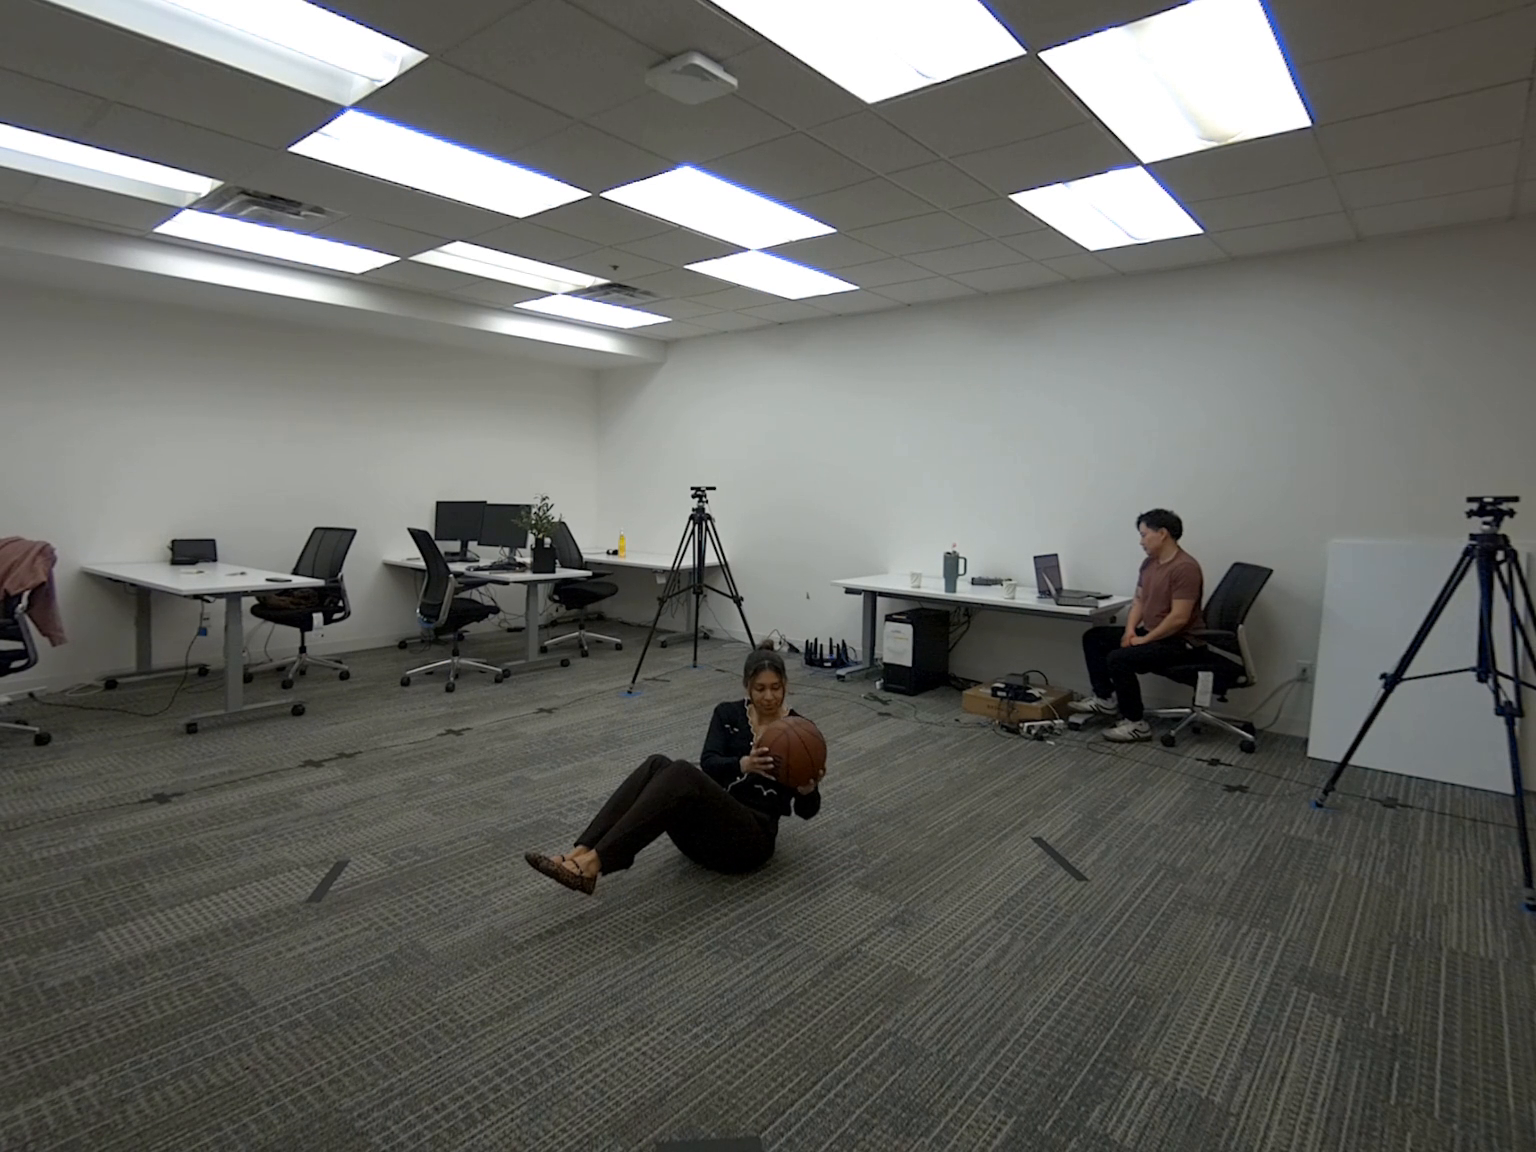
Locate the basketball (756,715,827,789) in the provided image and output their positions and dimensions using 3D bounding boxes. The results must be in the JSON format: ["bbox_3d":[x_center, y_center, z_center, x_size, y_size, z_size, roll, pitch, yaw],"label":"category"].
[{"bbox_3d":[0.065,0.599,2.943,0.235,0.235,0.237,1,4,-2],"label":"basketball"}]
